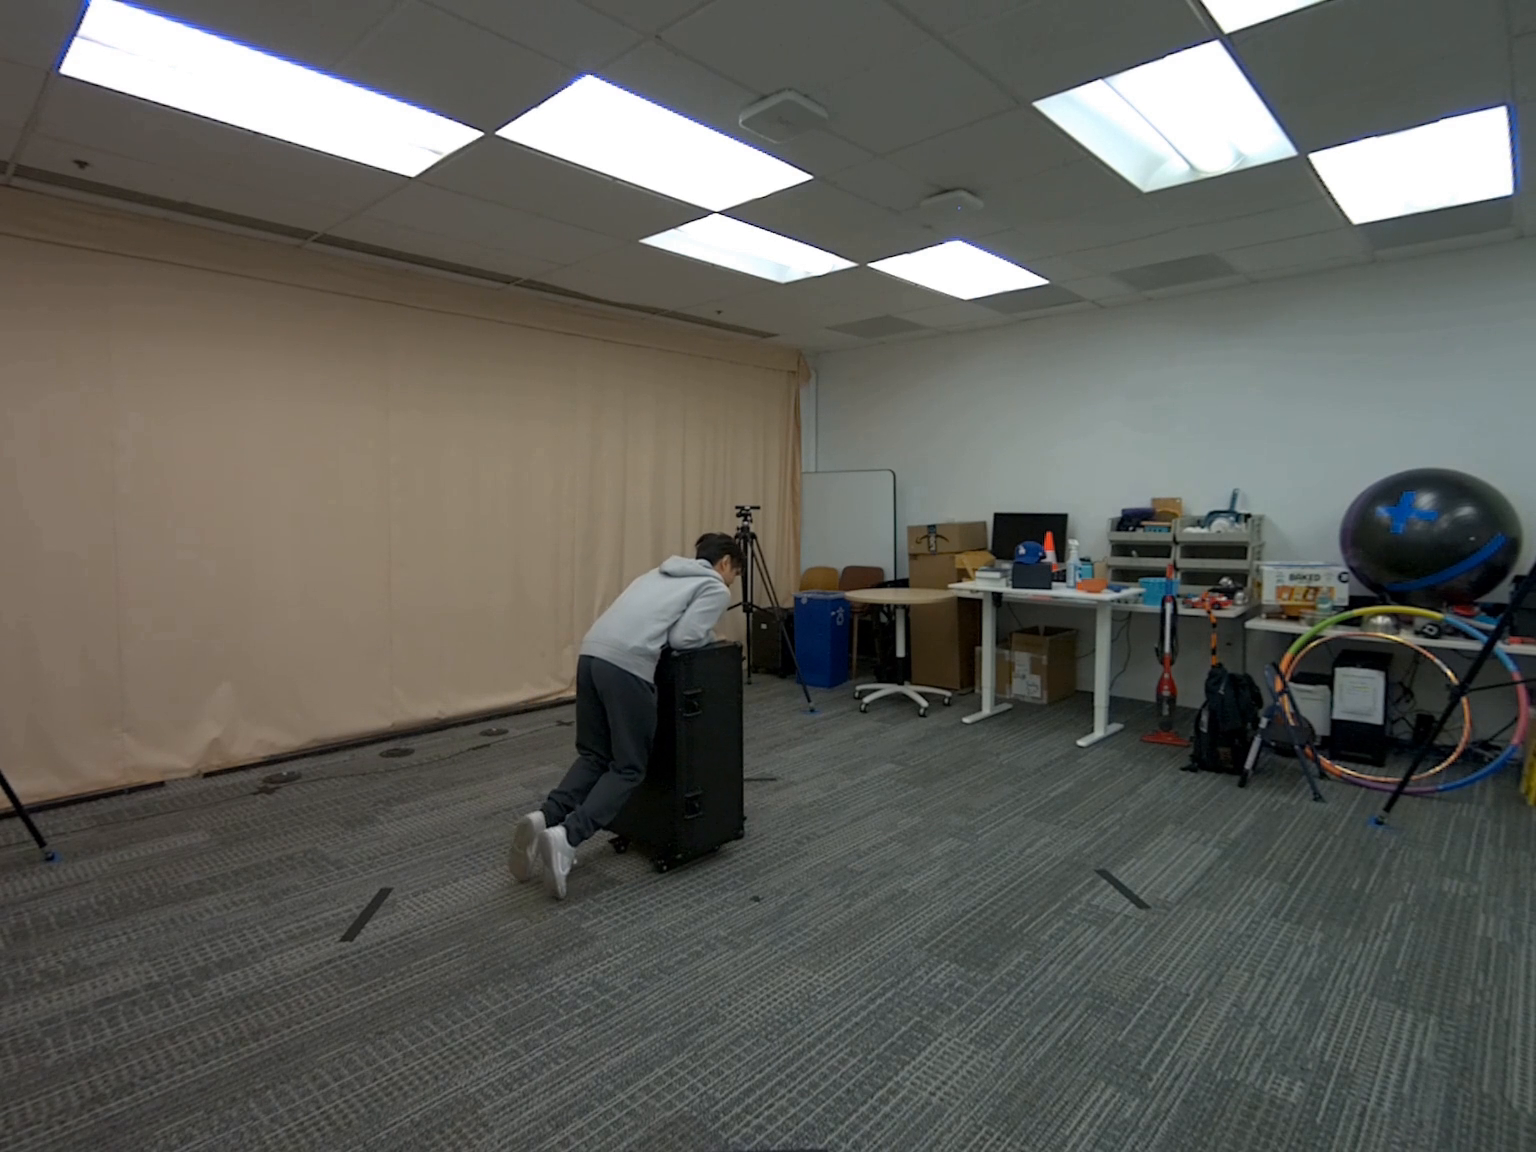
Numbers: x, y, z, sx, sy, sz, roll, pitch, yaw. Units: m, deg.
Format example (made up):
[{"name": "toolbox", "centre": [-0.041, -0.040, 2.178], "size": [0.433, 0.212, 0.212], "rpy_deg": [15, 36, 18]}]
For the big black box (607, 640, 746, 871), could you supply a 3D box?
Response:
[{"name": "big black box", "centre": [-0.390, 0.691, 3.411], "size": [0.384, 0.860, 0.538], "rpy_deg": [-2, 3, -44]}]
